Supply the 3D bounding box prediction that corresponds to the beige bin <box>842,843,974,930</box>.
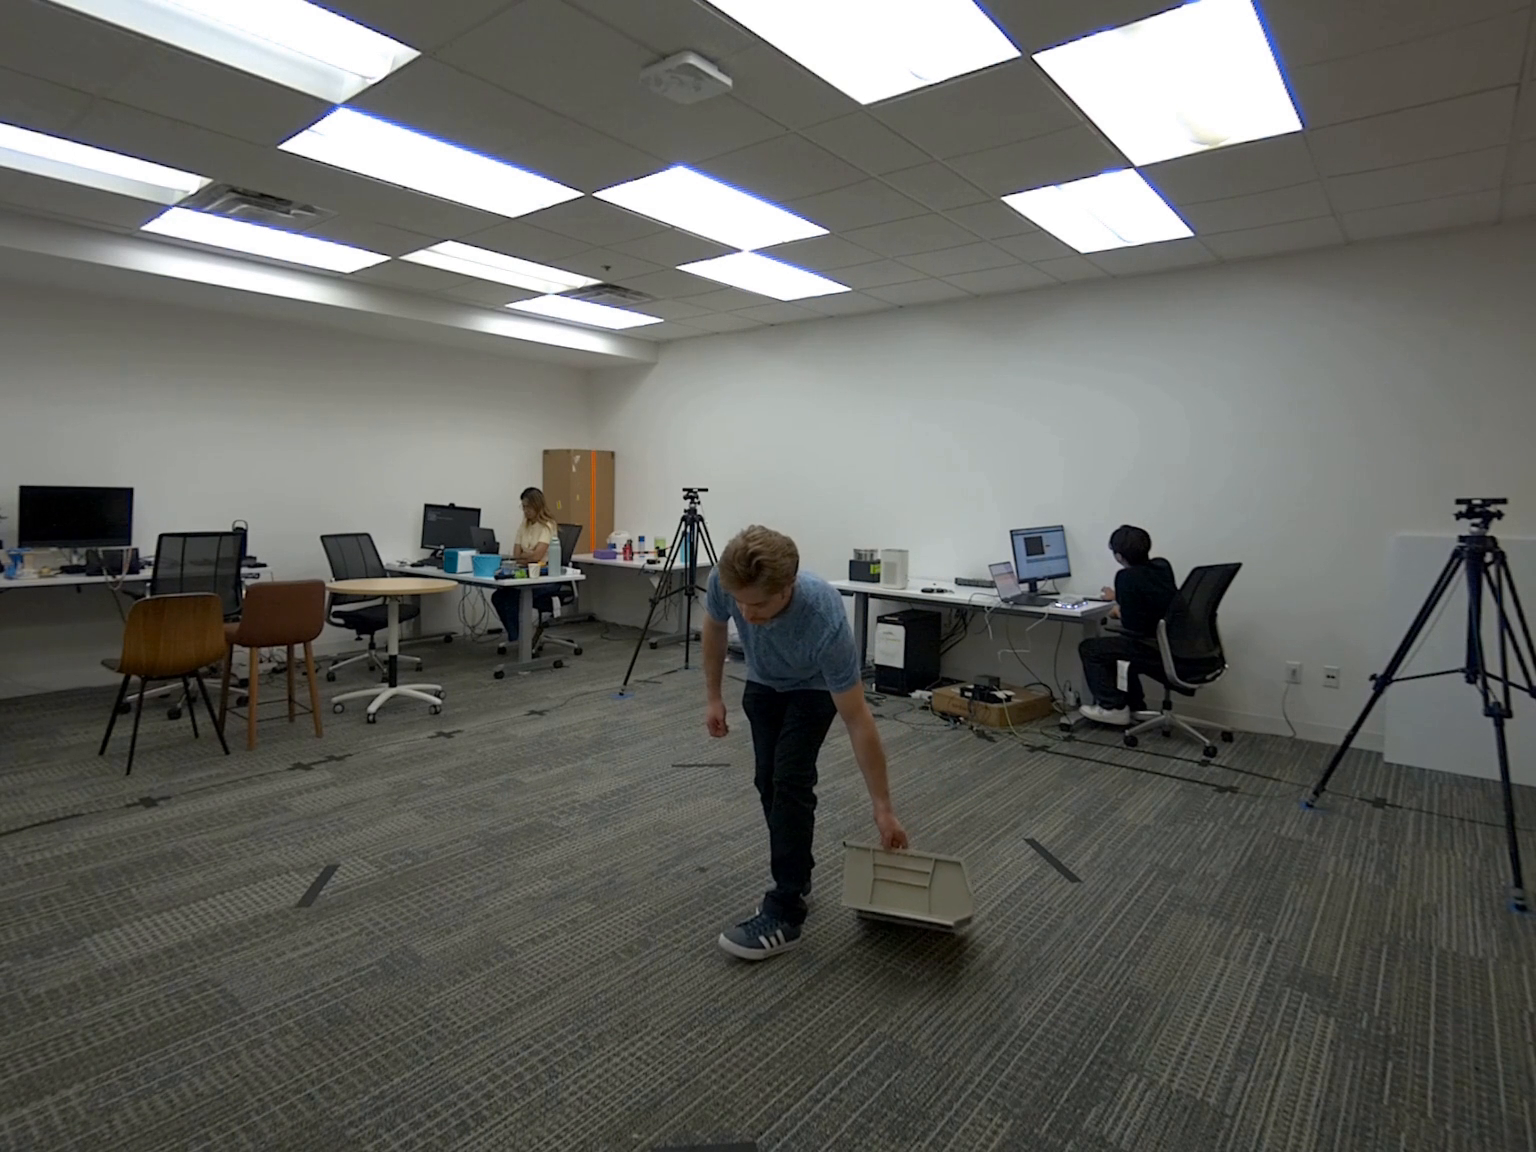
[{"bbox_3d":[0.427,0.946,2.603,0.383,0.192,0.409,3,-20,14],"label":"beige bin"}]
